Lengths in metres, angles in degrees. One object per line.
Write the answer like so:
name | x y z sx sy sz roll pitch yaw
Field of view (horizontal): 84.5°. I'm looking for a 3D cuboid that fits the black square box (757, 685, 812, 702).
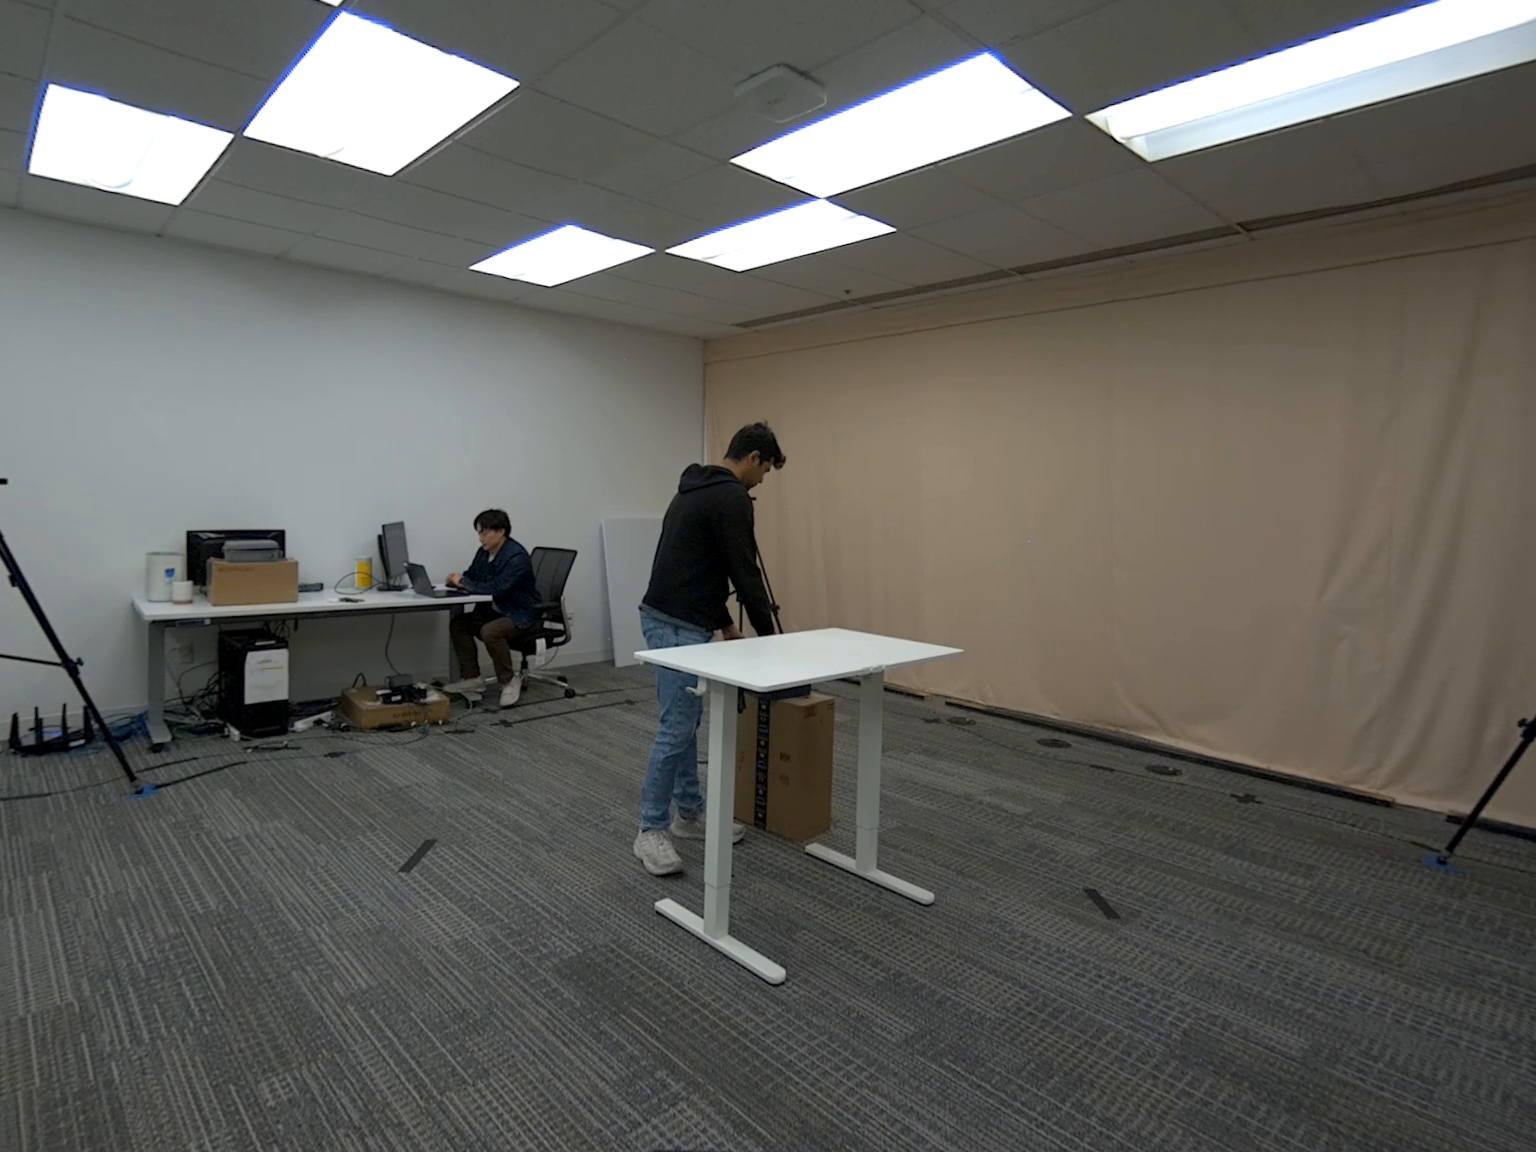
black square box | 0.027 0.420 3.613 0.212 0.155 0.234 -1 6 -38
